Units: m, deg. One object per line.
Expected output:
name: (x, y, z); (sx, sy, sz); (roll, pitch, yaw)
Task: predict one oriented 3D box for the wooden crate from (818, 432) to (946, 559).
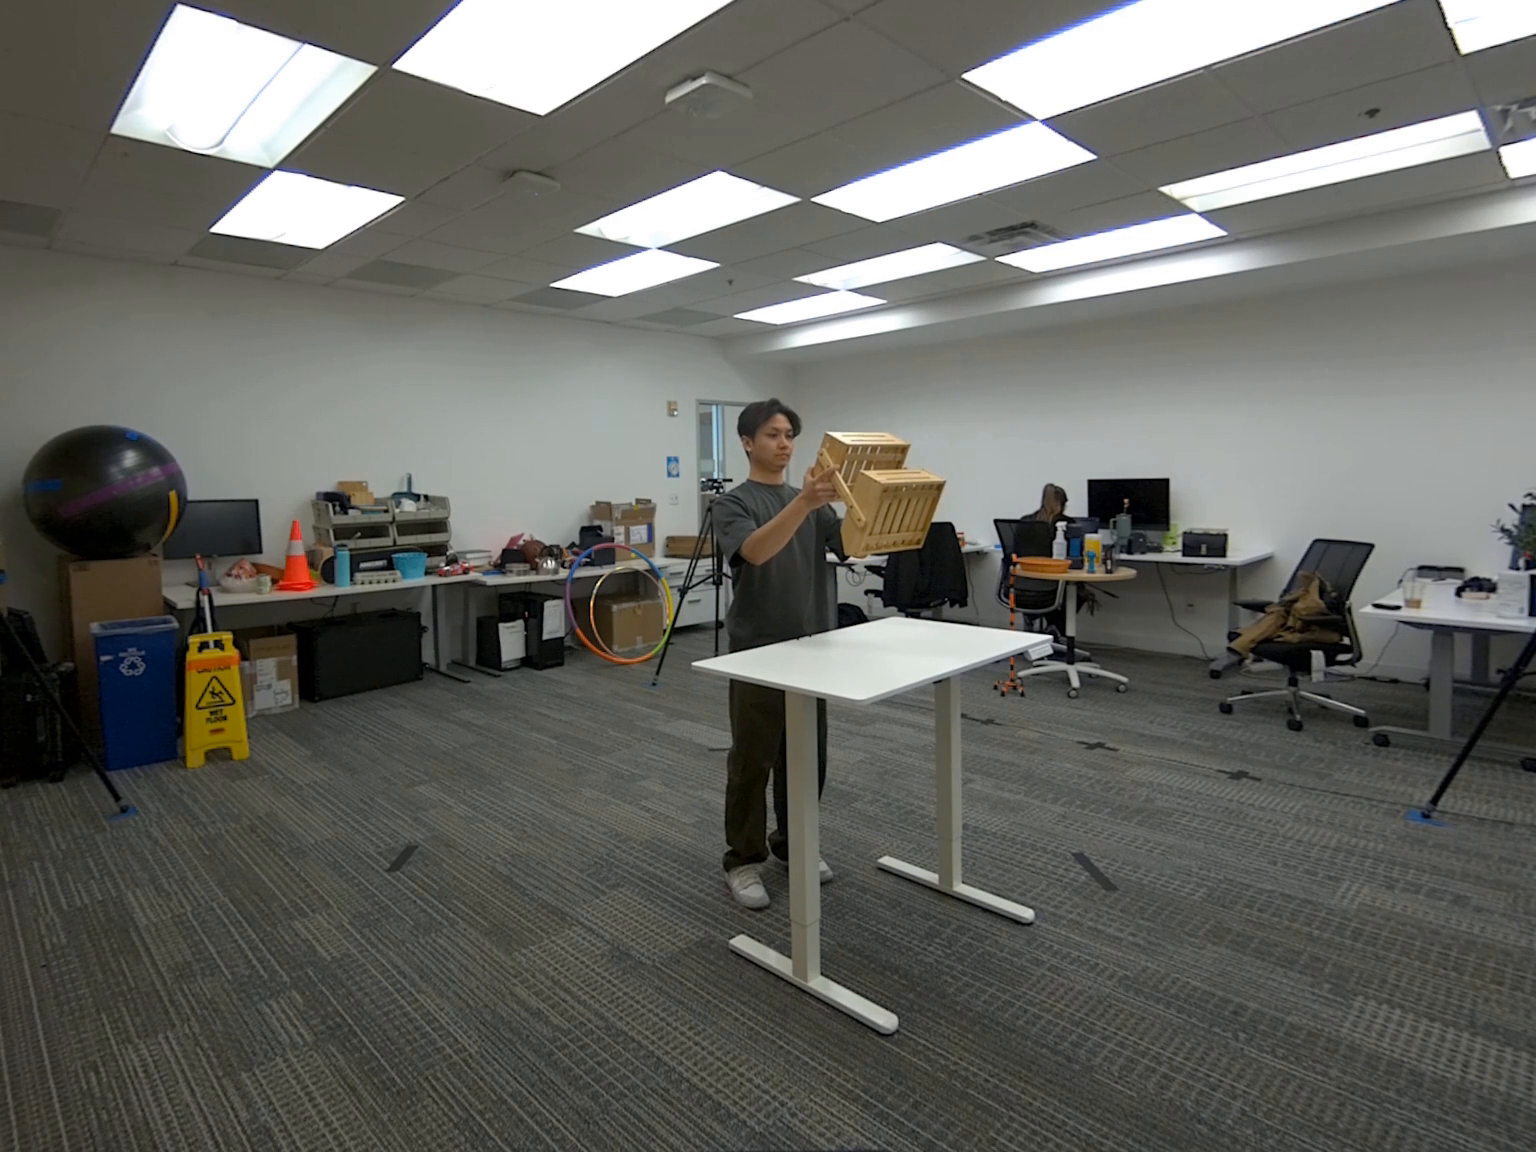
wooden crate: (0.323, -0.250, 2.605); (0.316, 0.298, 0.284); (-6, 32, -42)
